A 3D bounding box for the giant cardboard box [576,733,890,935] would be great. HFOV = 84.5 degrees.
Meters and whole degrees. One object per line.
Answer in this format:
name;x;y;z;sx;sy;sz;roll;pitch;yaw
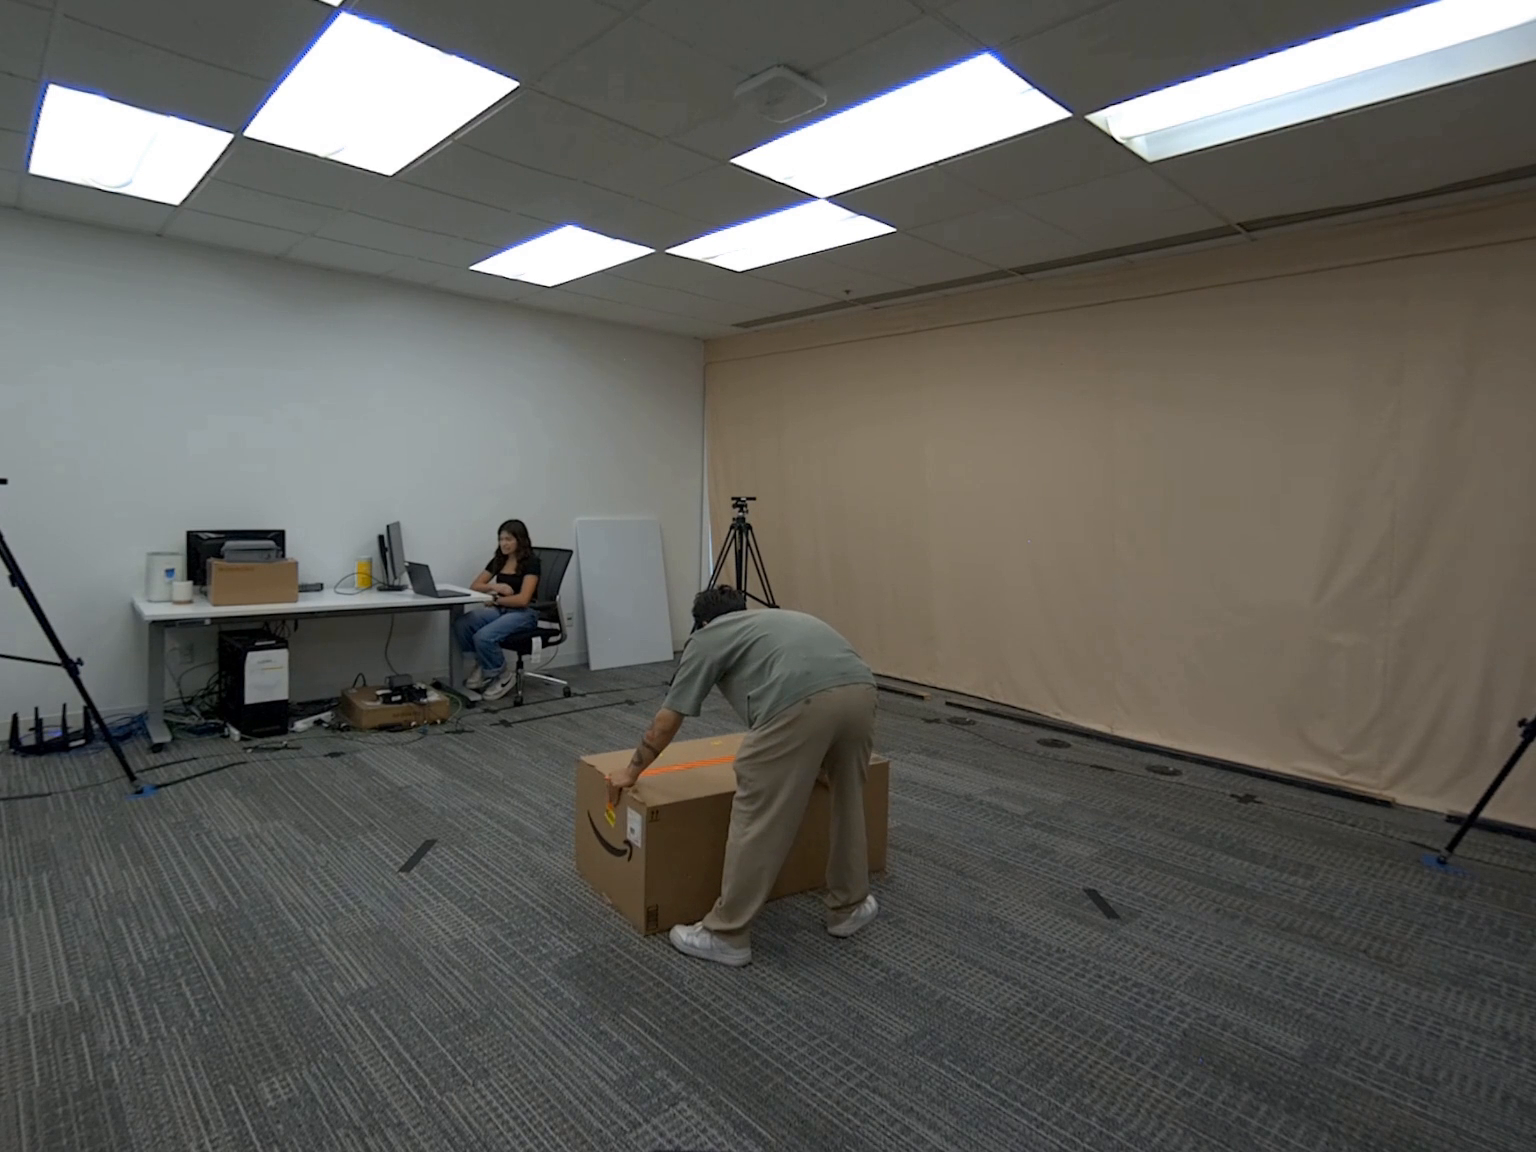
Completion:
giant cardboard box;-0.135;0.887;3.158;1.004;0.425;0.592;-2;6;-33
